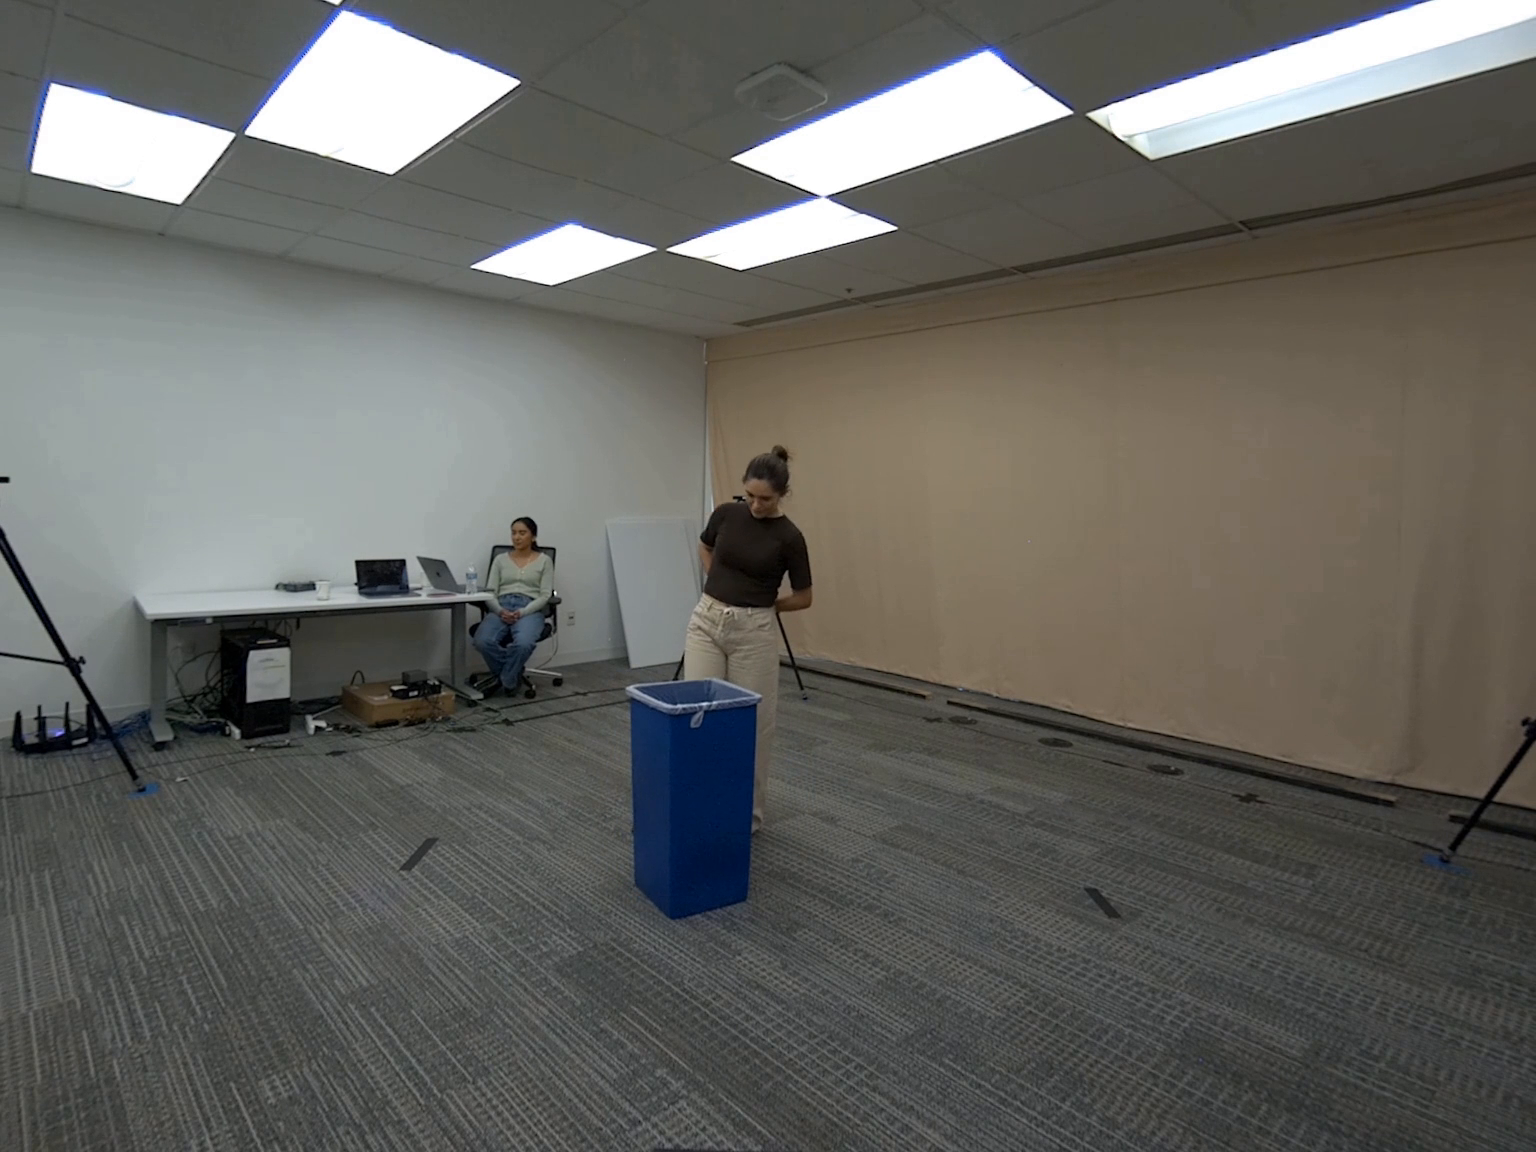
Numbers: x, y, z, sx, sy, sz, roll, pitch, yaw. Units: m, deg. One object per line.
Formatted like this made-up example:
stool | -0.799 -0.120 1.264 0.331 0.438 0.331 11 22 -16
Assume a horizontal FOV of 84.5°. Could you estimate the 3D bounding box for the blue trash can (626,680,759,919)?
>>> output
blue trash can | -0.273 0.756 2.950 0.366 0.712 0.387 -1 4 -33
